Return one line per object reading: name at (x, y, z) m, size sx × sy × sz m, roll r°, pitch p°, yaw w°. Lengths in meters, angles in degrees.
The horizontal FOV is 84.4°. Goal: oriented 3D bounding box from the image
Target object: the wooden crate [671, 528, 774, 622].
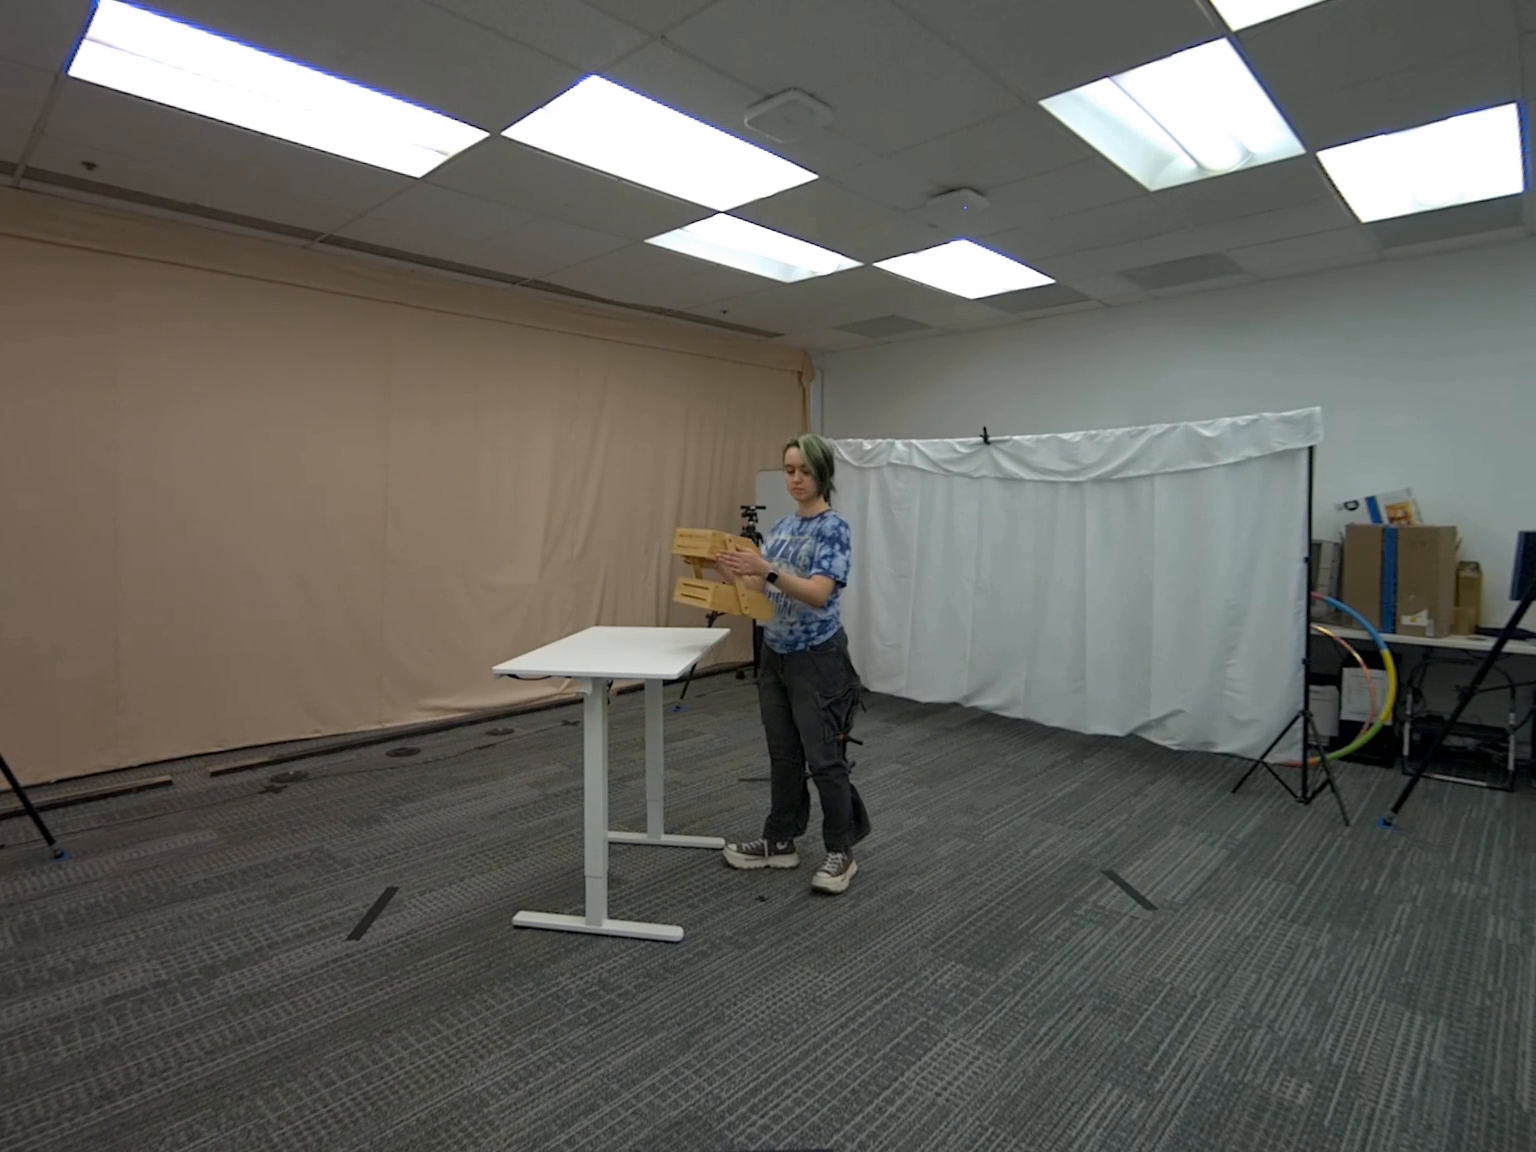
wooden crate at (-0.150, -0.006, 2.985) m, size 0.293 × 0.274 × 0.334 m, roll 14°, pitch -4°, yaw -29°
